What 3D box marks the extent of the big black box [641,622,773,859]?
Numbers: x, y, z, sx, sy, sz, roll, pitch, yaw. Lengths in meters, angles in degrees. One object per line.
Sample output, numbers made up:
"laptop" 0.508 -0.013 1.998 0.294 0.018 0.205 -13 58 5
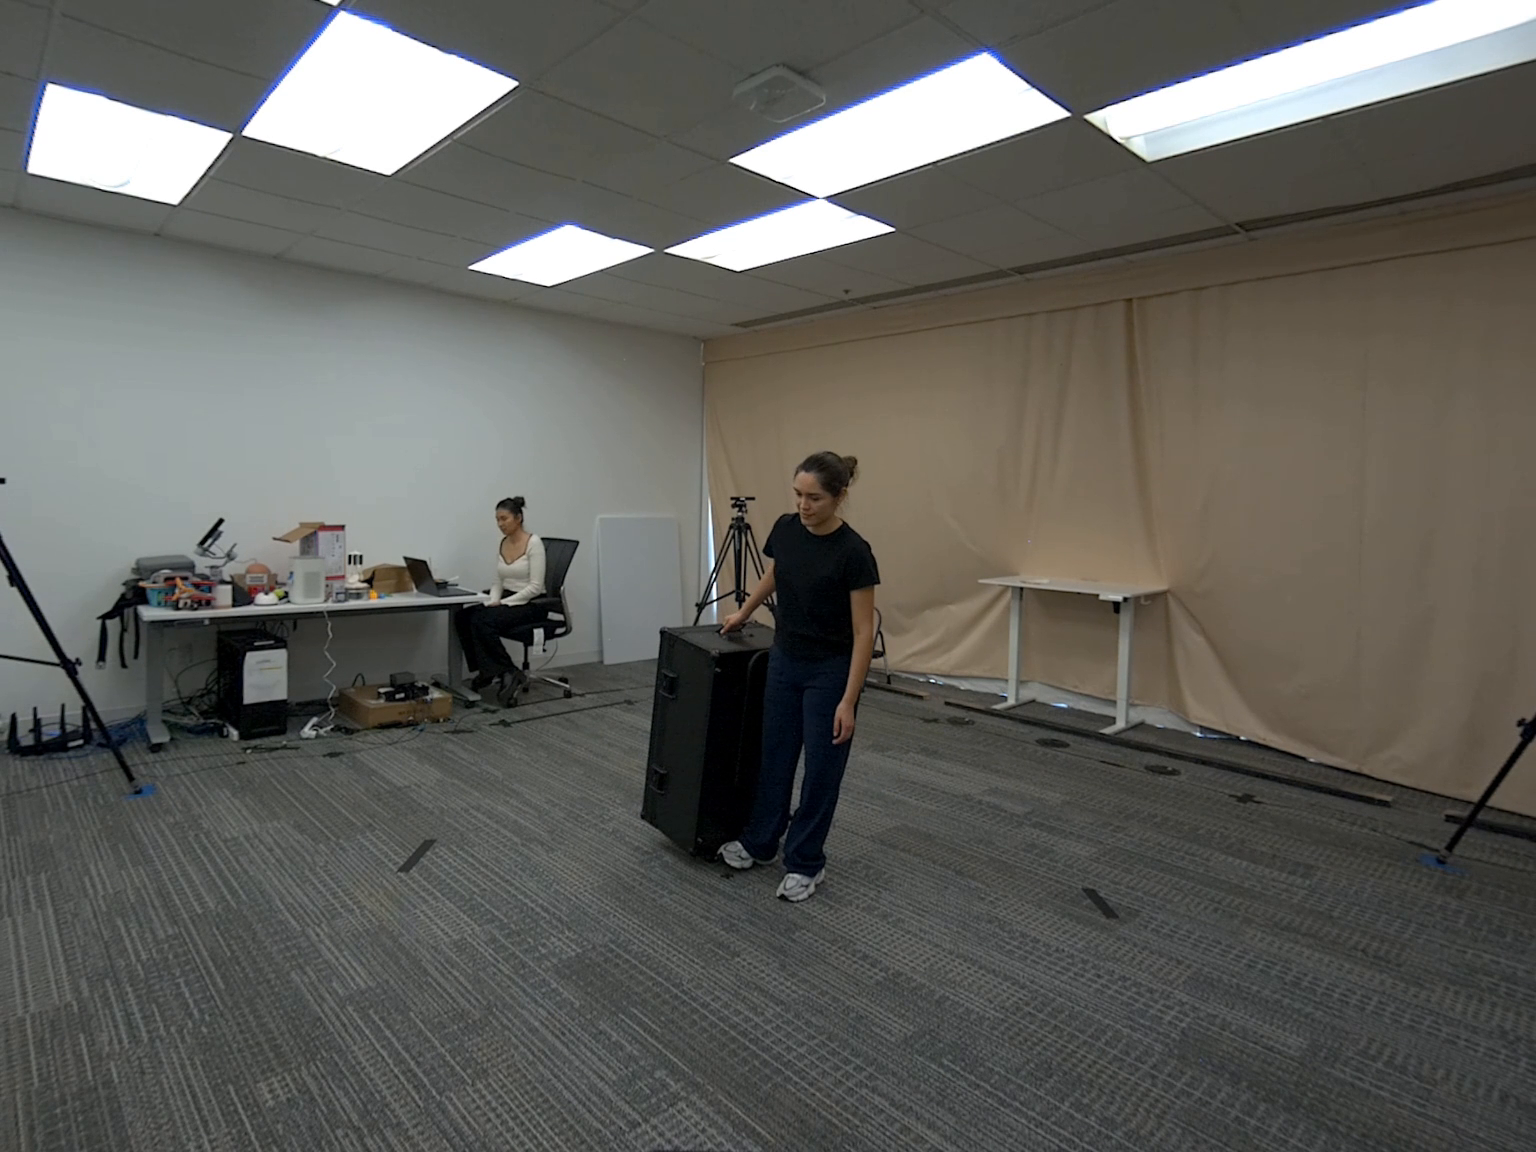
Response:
"big black box" -0.165 0.651 3.320 0.509 0.857 0.408 0 12 -41
